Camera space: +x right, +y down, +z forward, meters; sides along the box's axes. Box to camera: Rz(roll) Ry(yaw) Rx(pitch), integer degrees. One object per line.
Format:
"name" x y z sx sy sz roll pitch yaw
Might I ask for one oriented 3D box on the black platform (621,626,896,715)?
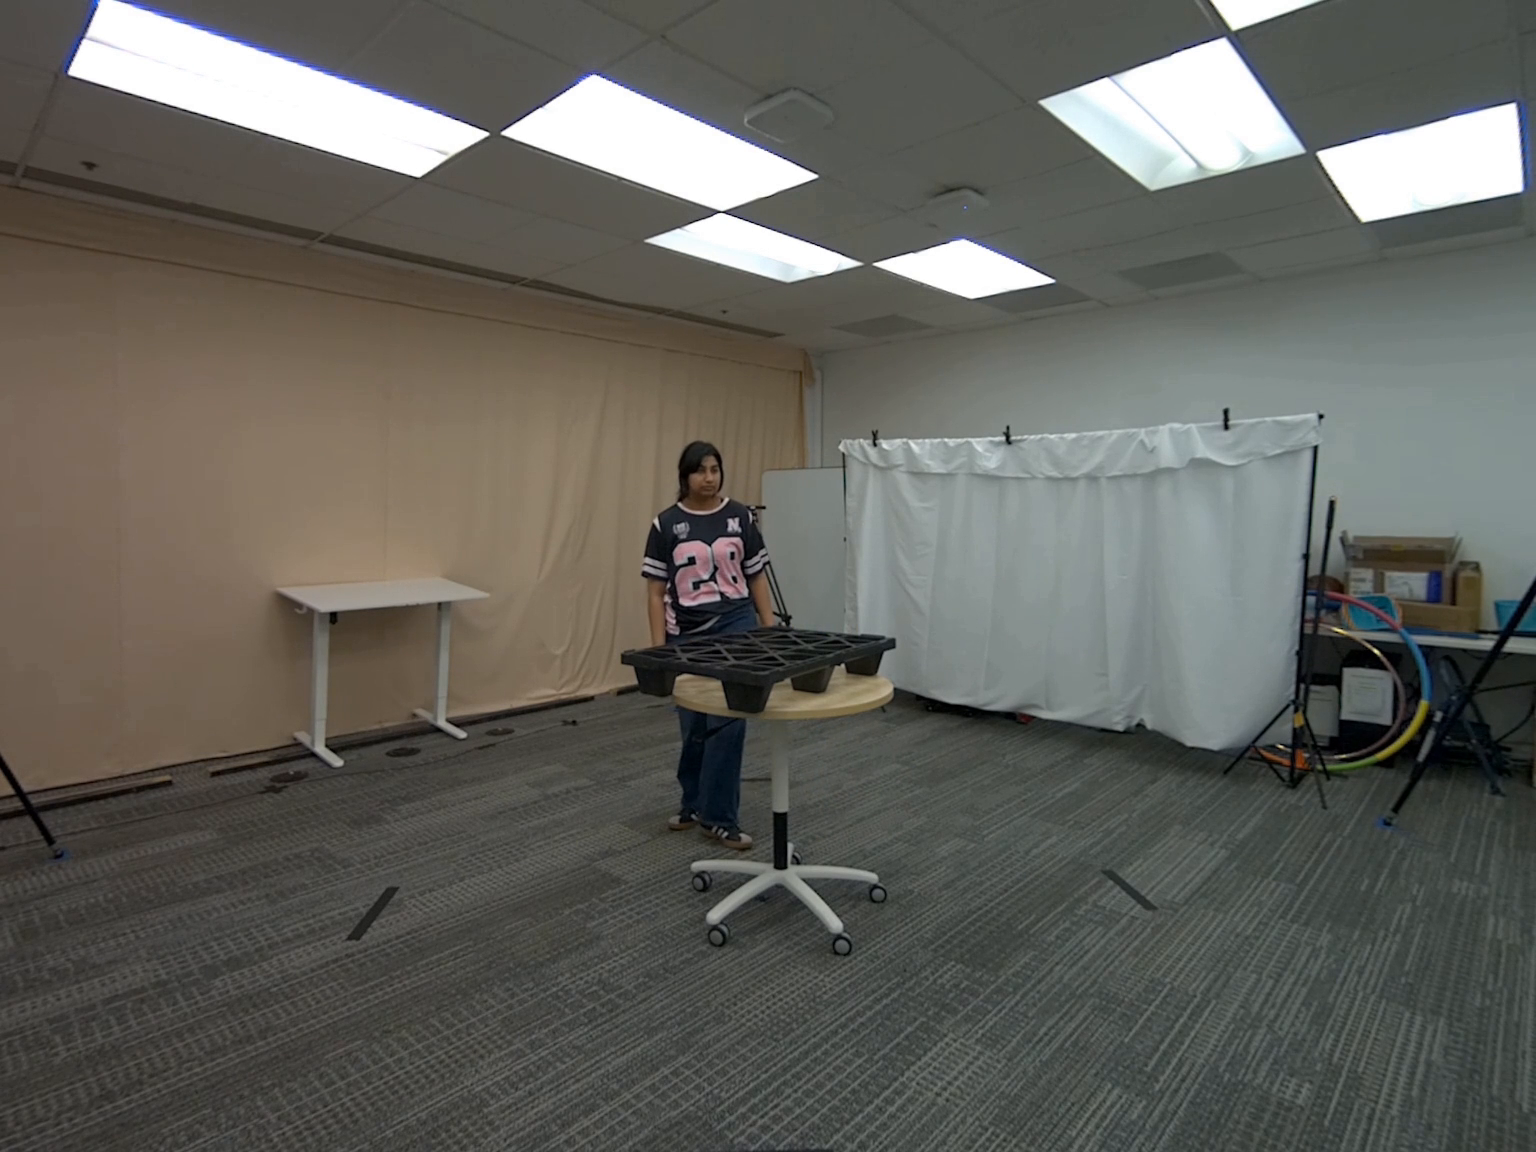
"black platform" -0.016 0.305 2.878 0.625 0.143 0.781 3 5 38
